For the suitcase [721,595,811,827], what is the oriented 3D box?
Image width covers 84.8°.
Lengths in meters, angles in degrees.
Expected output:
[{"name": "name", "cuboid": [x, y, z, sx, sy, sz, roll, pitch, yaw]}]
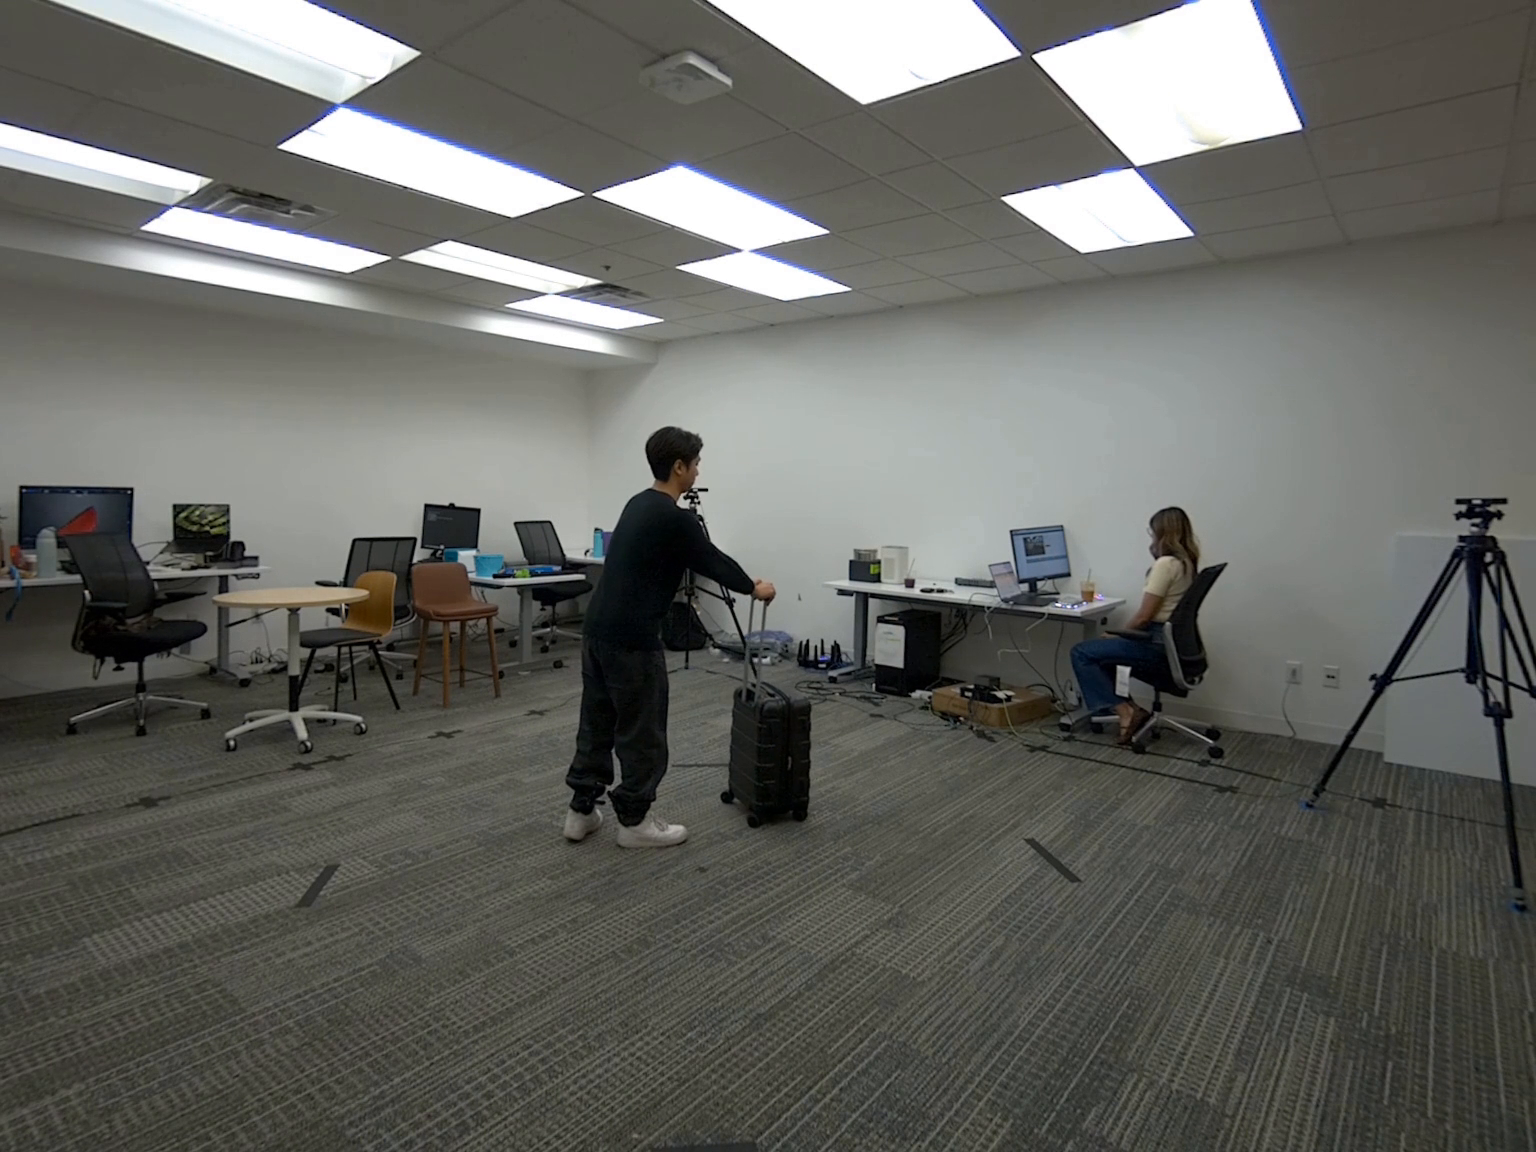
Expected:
[{"name": "suitcase", "cuboid": [0.006, 0.547, 3.667, 0.251, 0.976, 0.393, 3, 4, -21]}]
